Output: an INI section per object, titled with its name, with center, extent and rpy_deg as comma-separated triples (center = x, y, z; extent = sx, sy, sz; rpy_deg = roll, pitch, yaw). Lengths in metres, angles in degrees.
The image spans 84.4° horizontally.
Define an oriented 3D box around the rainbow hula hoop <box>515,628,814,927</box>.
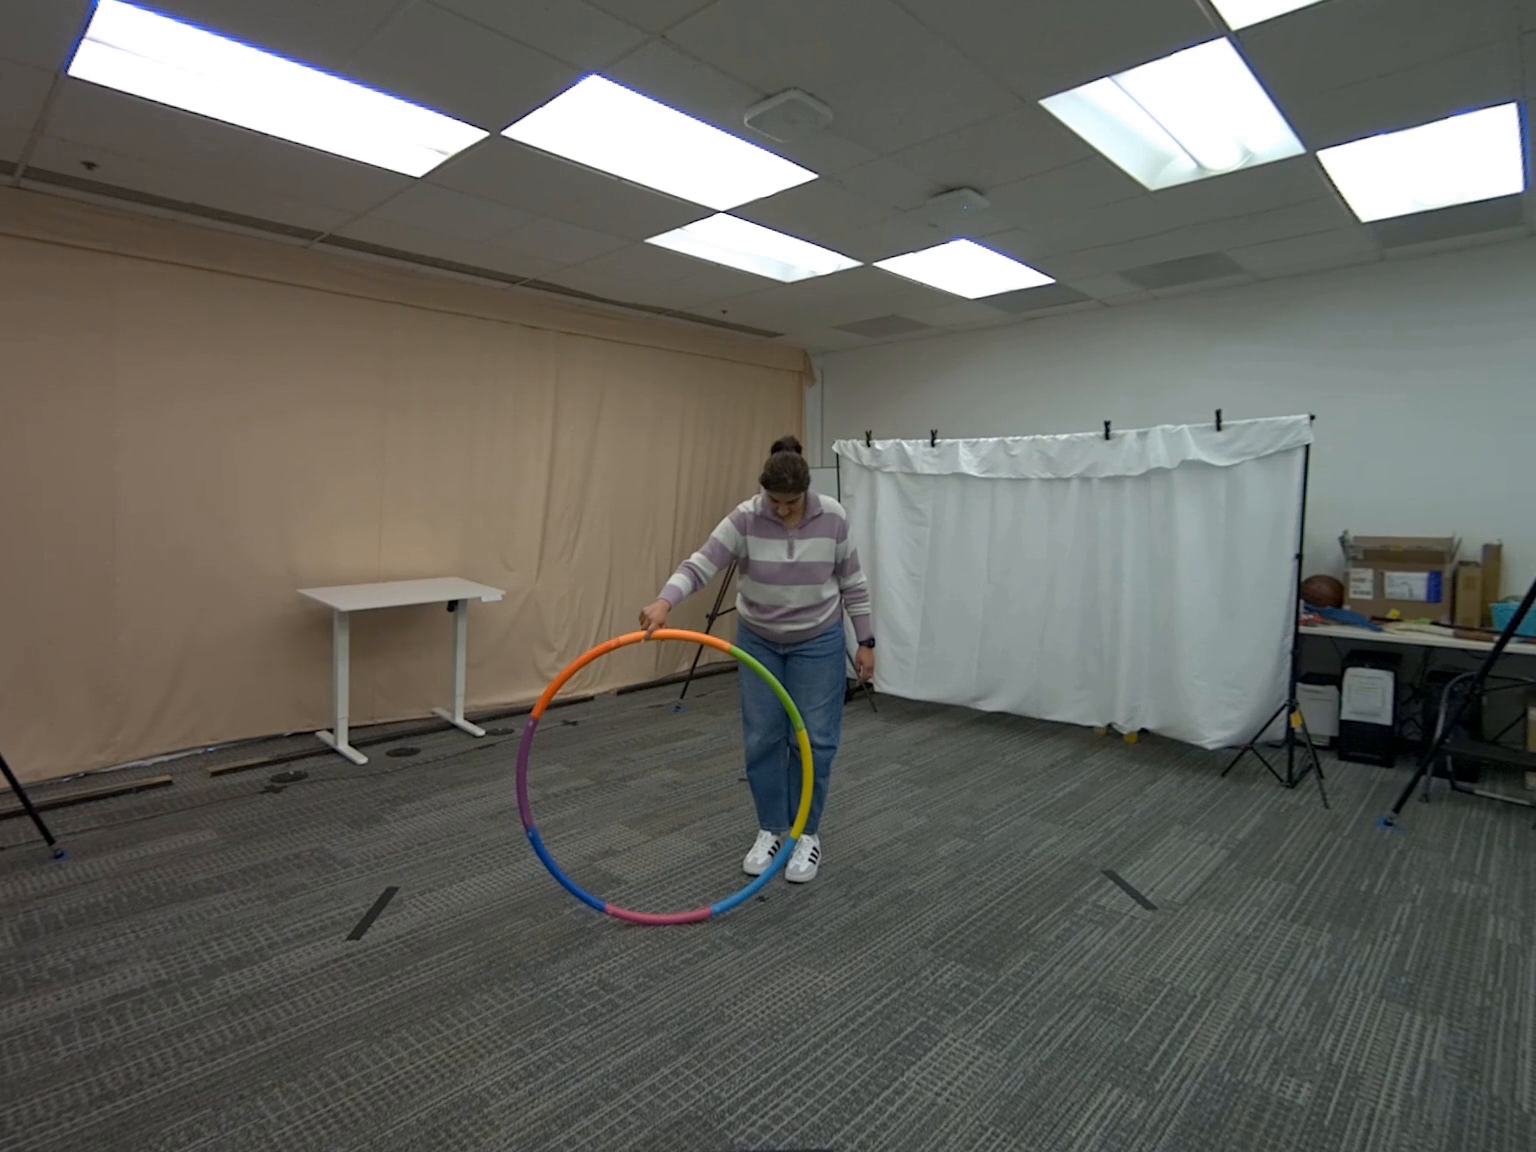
[rainbow hula hoop]
center = -0.339, 0.673, 2.802
extent = 0.973, 0.979, 0.036
rpy_deg = 0, -1, -5
